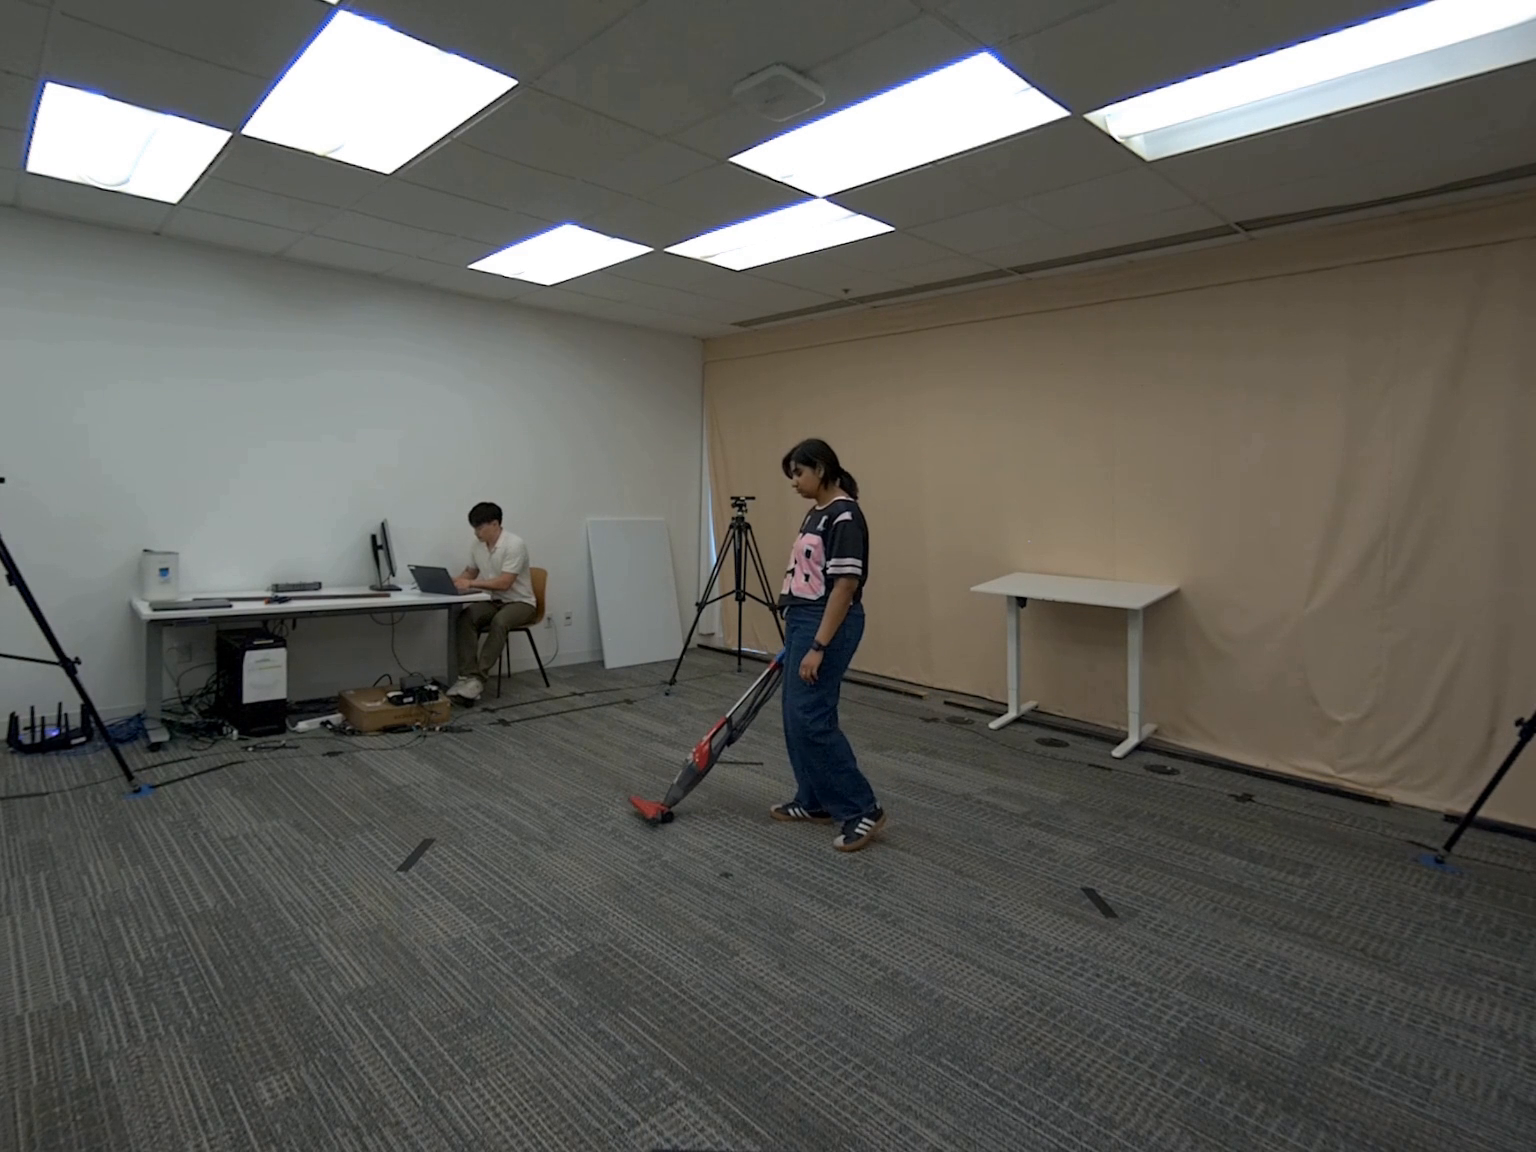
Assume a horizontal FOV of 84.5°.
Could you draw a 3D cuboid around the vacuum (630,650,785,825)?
[{"bbox_3d":[-0.163,0.660,3.770,1.048,0.140,0.259,-46,27,-17],"label":"vacuum"}]
